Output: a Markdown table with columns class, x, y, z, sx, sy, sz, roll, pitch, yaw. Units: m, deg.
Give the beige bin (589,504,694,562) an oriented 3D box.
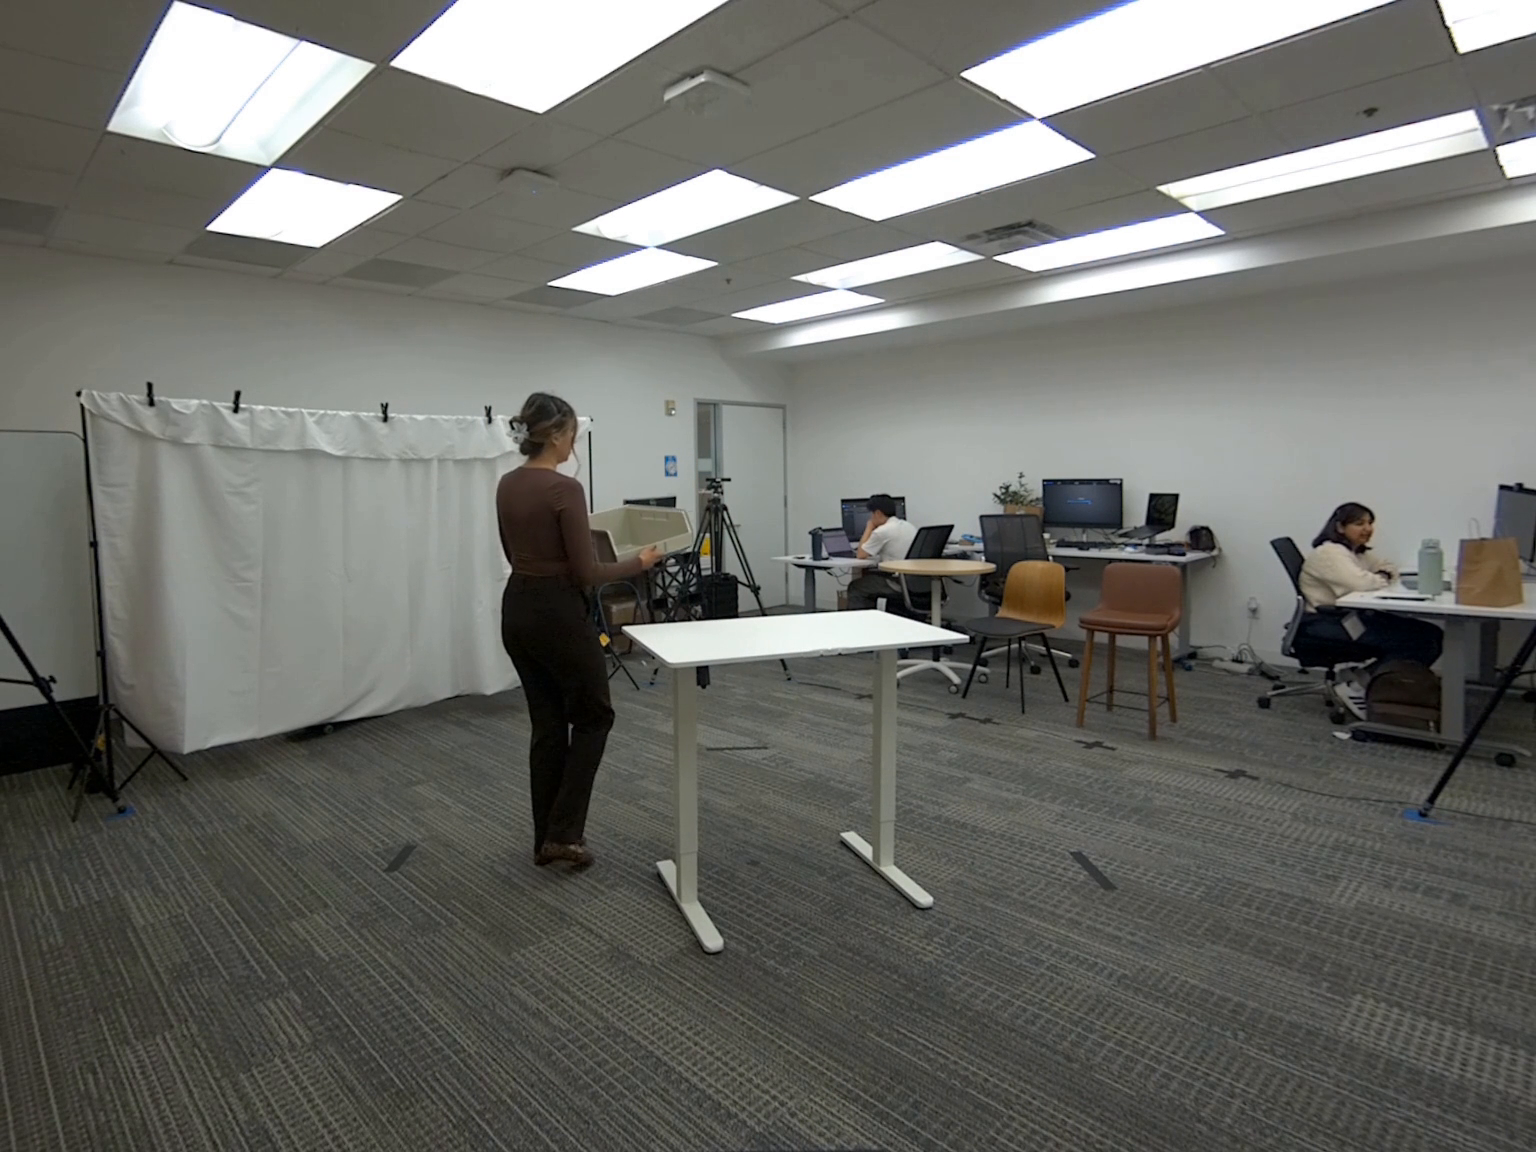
| class | x | y | z | sx | sy | sz | roll | pitch | yaw |
| --- | --- | --- | --- | --- | --- | --- | --- | --- | --- |
| beige bin | -0.567 | -0.141 | 3.366 | 0.389 | 0.187 | 0.415 | 5 | 17 | 39 |
